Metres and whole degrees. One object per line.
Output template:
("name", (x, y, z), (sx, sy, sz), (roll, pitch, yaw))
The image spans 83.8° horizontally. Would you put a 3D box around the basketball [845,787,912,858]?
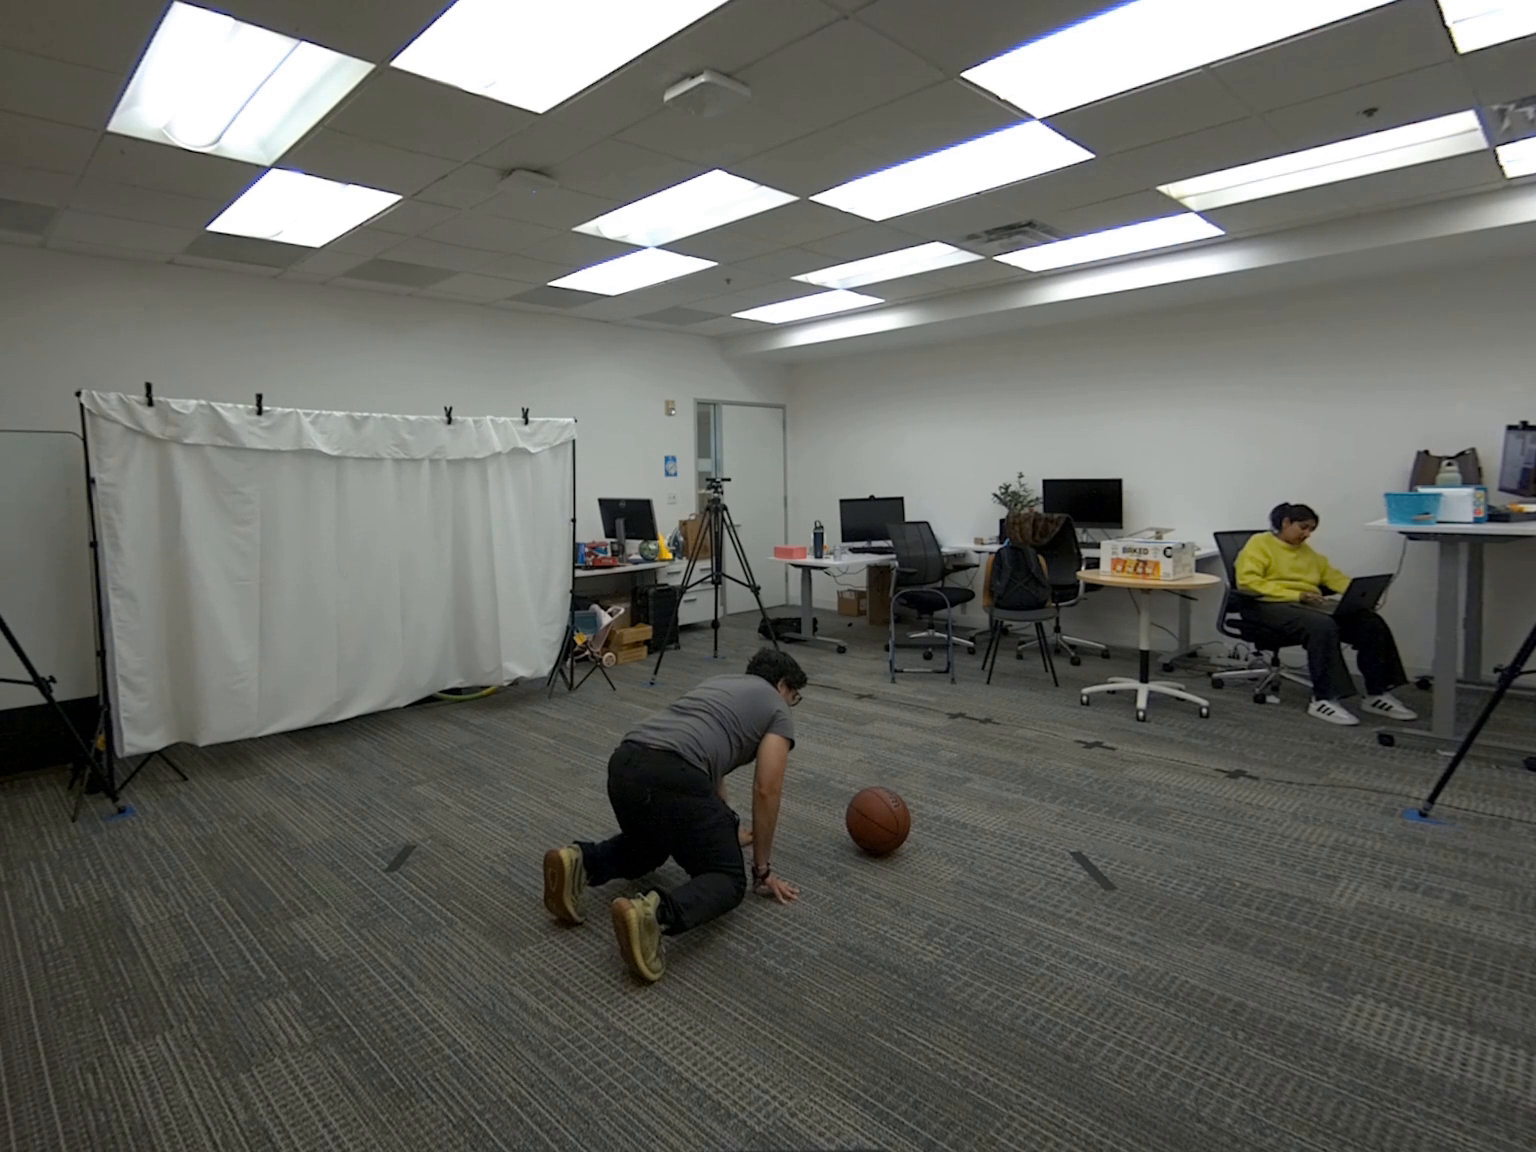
("basketball", (0.417, 0.905, 3.171), (0.236, 0.235, 0.237), (-1, 5, -2))
